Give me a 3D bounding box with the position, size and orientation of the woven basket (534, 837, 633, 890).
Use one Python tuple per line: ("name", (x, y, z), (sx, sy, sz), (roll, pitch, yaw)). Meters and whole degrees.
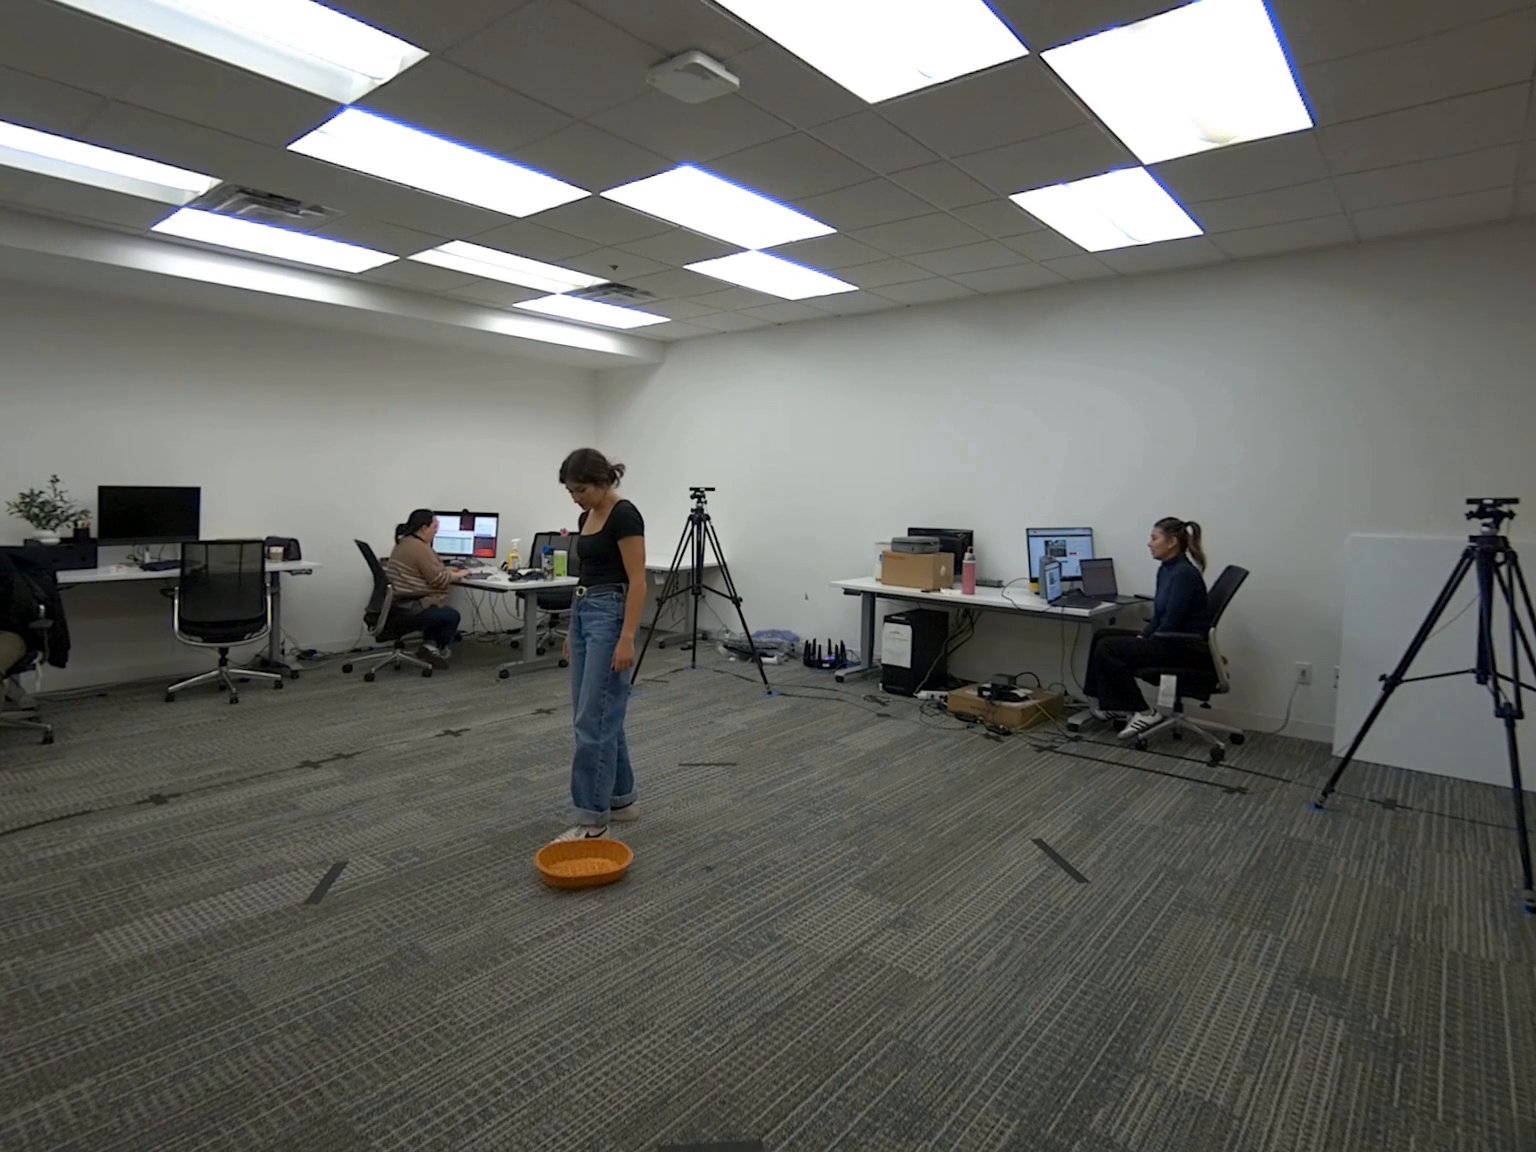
("woven basket", (-0.661, 1.025, 3.020), (0.344, 0.073, 0.259), (0, 10, -18))
